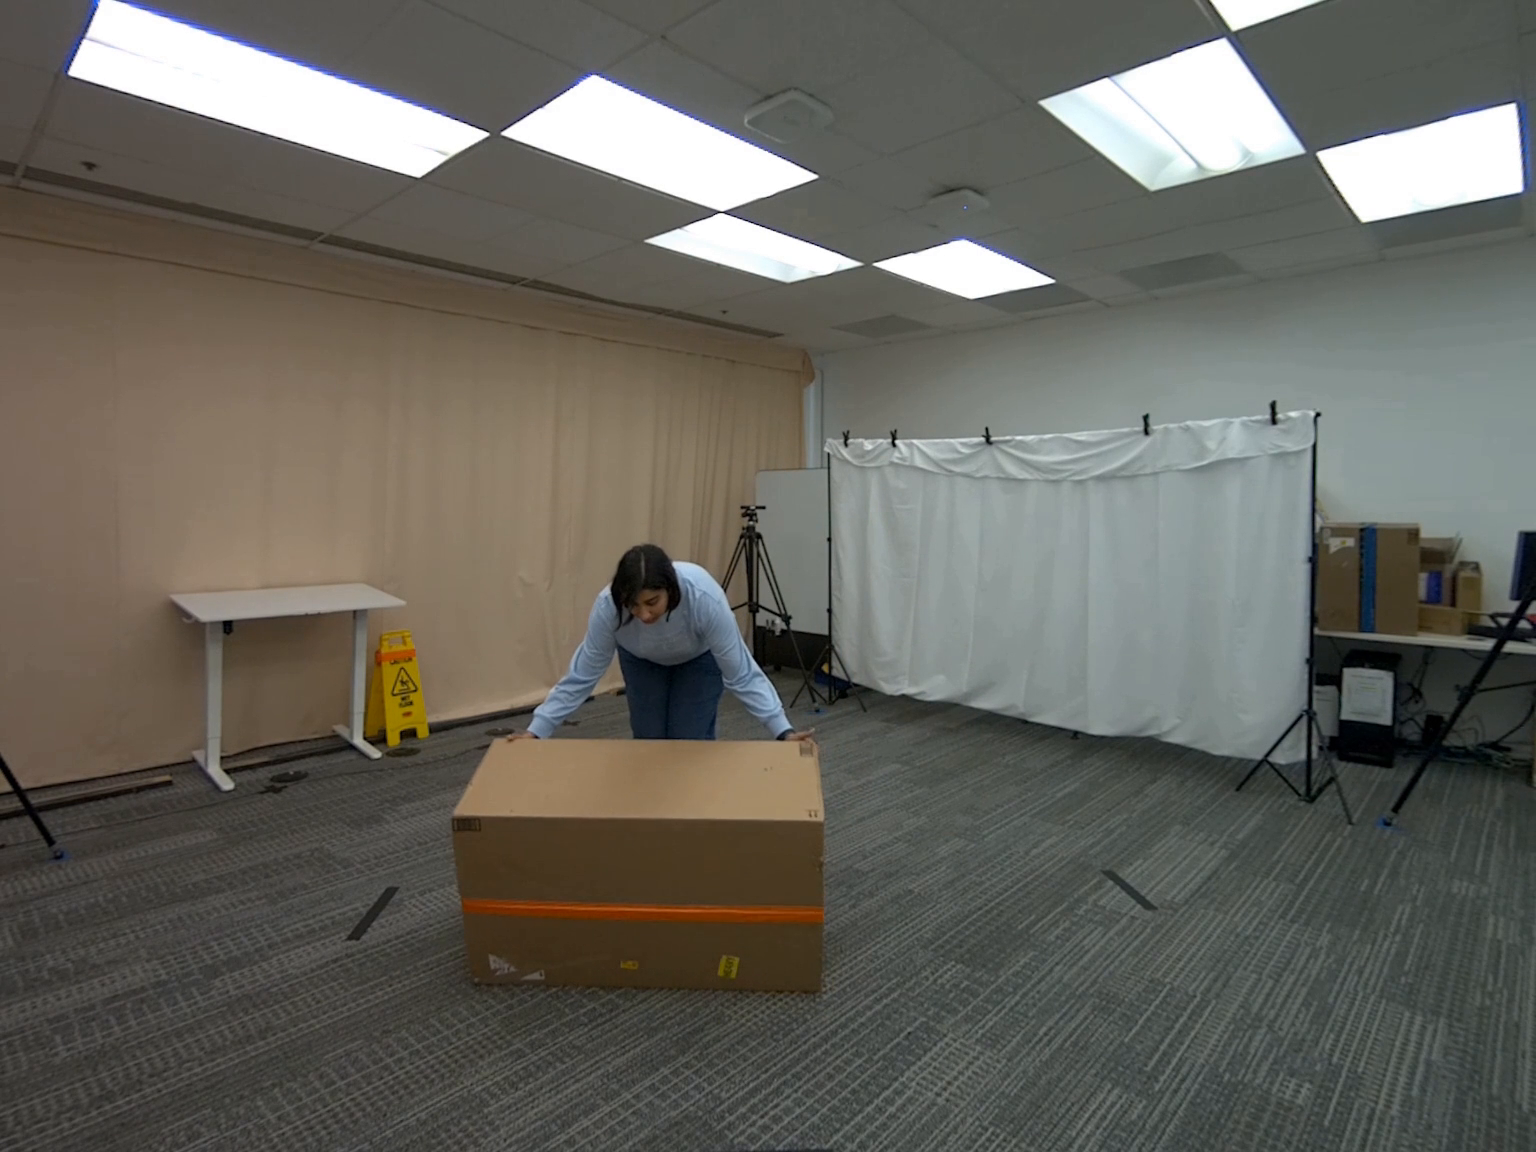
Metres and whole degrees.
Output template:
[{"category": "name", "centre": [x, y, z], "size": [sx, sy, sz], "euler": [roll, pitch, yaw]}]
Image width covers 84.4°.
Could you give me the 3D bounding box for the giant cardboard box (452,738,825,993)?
[{"category": "giant cardboard box", "centre": [-0.358, 0.852, 2.541], "size": [1.029, 0.571, 0.429], "euler": [0, 17, 2]}]
